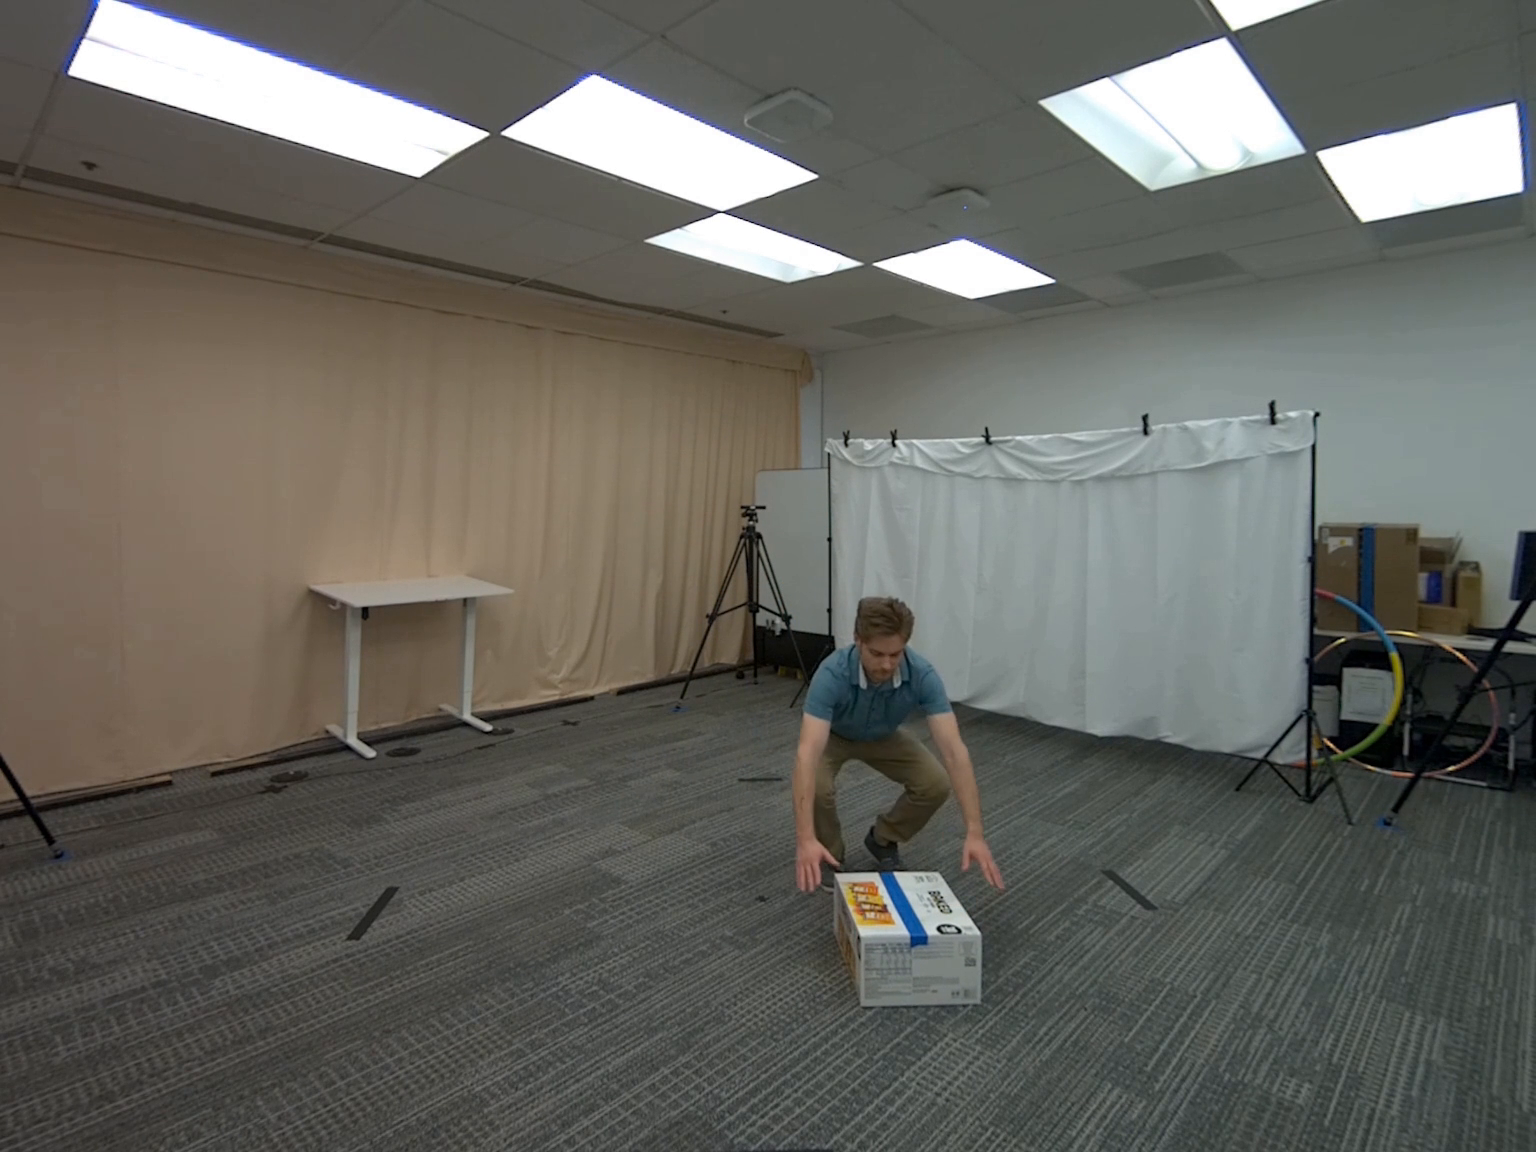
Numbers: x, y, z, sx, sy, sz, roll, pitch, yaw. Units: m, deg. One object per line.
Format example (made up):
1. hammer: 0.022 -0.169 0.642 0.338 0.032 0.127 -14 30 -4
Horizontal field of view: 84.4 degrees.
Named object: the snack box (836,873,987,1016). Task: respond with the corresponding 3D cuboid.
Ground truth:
1. snack box: 0.408 1.079 2.522 0.339 0.205 0.408 0 6 -4
